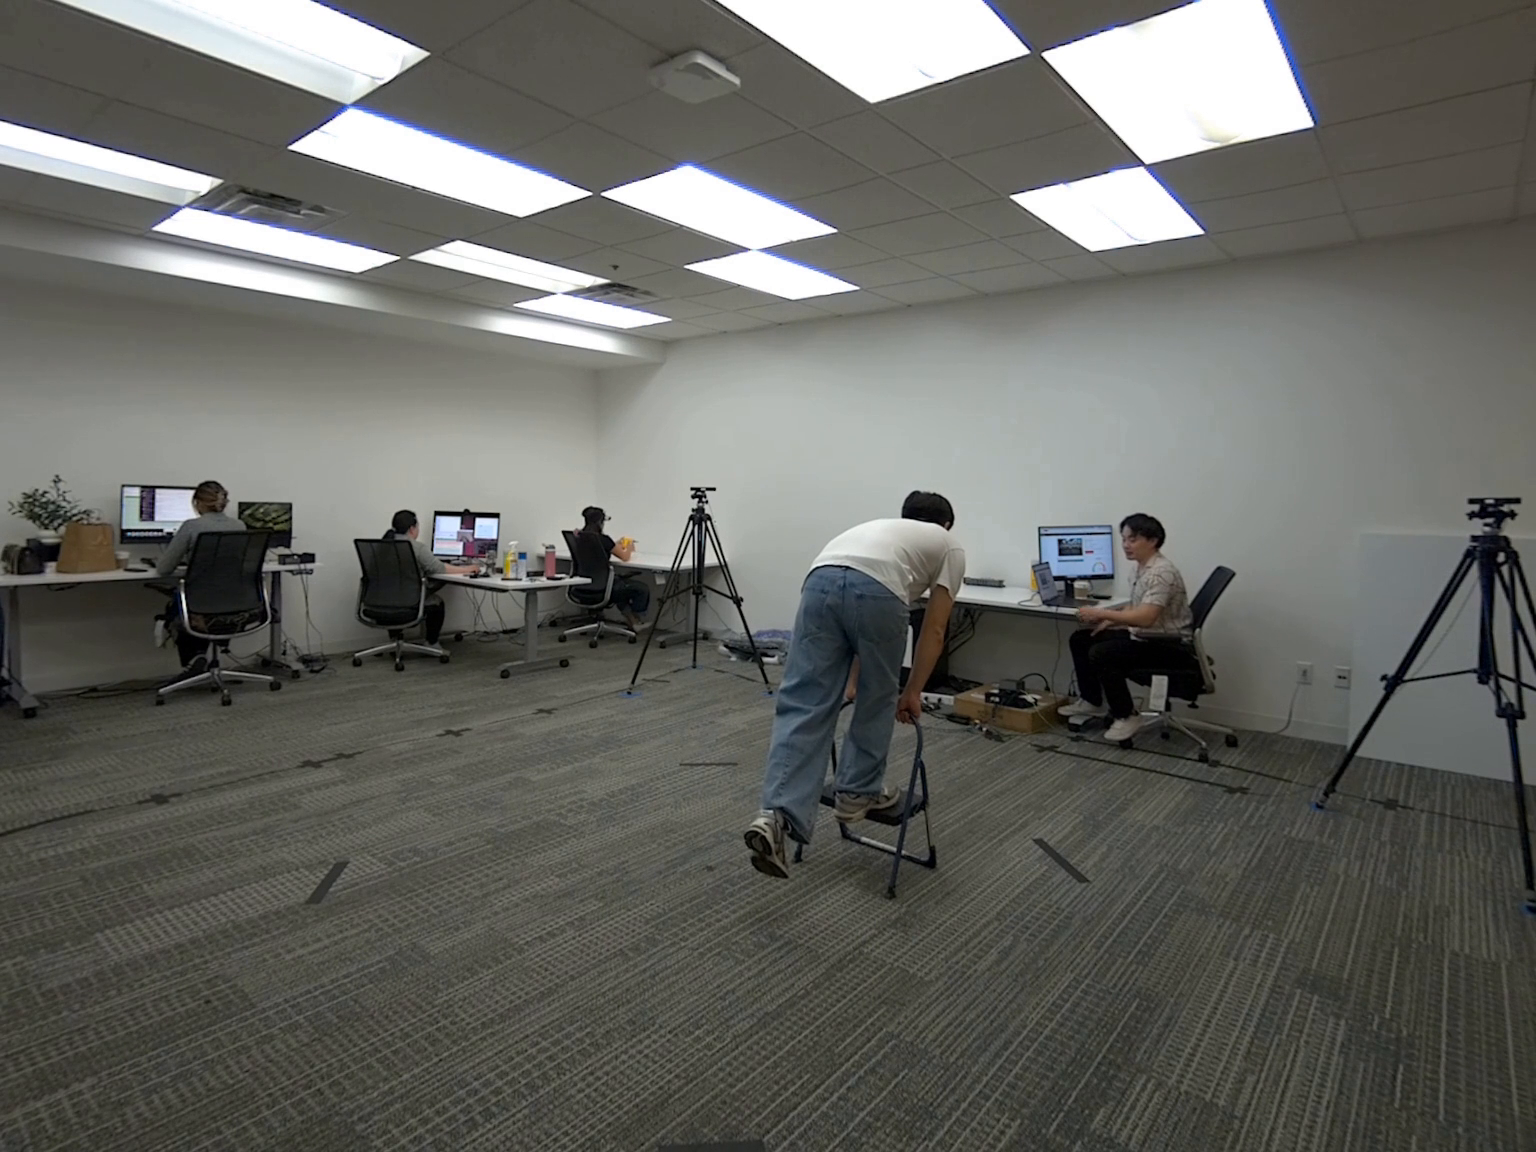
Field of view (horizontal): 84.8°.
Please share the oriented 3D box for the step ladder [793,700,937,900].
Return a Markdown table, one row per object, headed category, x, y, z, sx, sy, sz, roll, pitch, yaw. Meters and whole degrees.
| category | x | y | z | sx | sy | sz | roll | pitch | yaw |
| --- | --- | --- | --- | --- | --- | --- | --- | --- | --- |
| step ladder | 0.363 | 0.770 | 3.161 | 0.445 | 0.604 | 0.339 | 5 | 5 | 39 |
